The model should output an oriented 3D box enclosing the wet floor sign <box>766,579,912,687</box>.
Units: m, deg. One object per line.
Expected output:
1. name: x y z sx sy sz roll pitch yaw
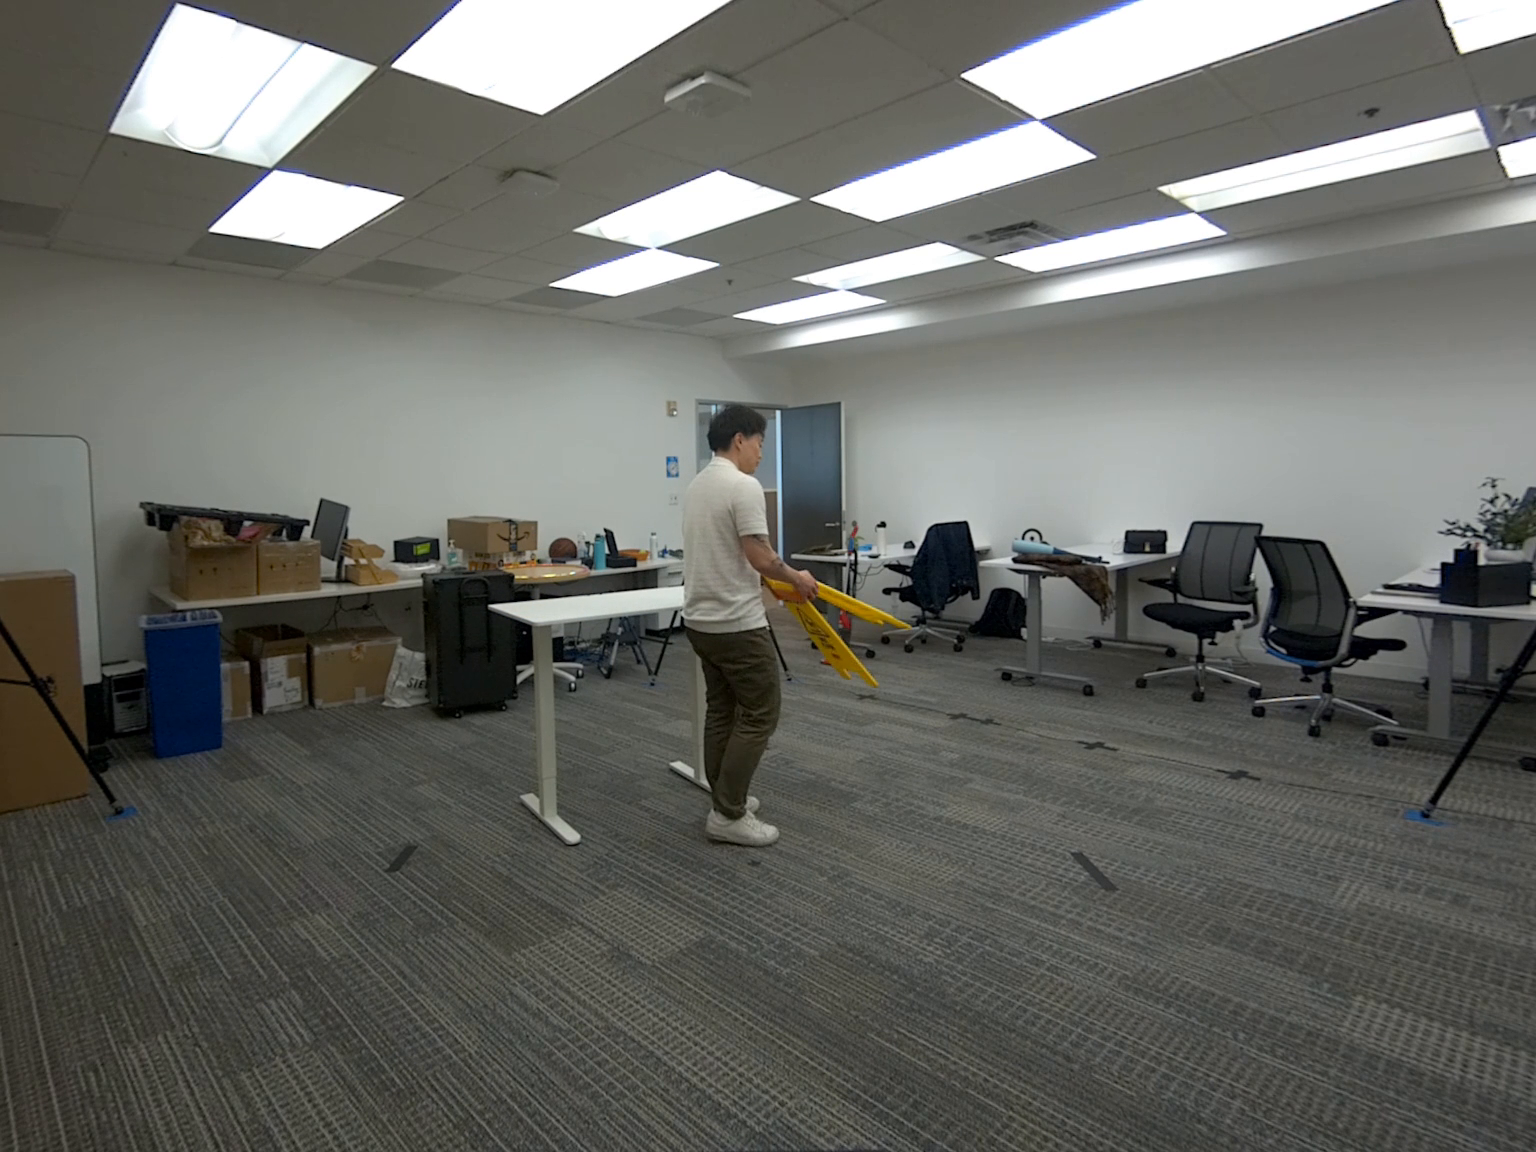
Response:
1. wet floor sign: 0.229 0.140 3.543 0.630 0.290 0.288 38 -15 -19
